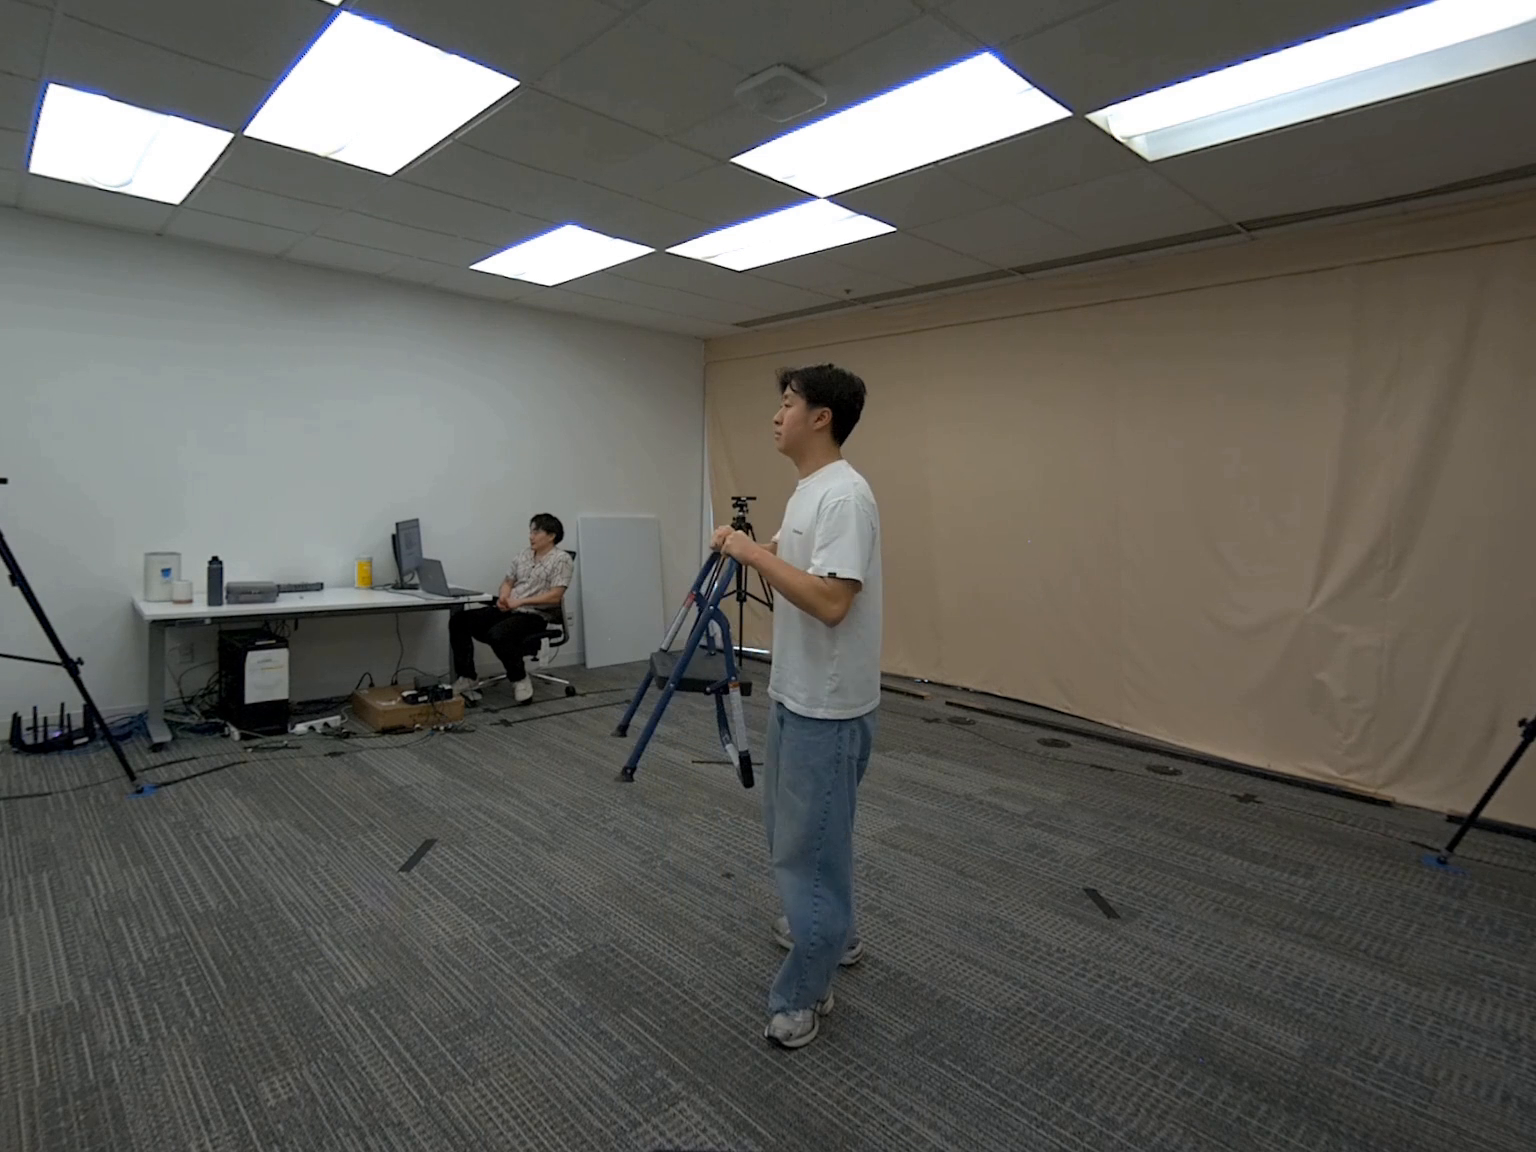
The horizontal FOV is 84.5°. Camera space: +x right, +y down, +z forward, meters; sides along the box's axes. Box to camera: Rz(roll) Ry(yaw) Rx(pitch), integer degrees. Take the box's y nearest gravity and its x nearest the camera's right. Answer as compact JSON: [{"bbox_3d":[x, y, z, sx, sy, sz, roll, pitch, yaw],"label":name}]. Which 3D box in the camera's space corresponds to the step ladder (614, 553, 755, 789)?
[{"bbox_3d":[-0.196,0.201,2.273,0.346,0.605,0.435,7,2,-12],"label":"step ladder"}]
